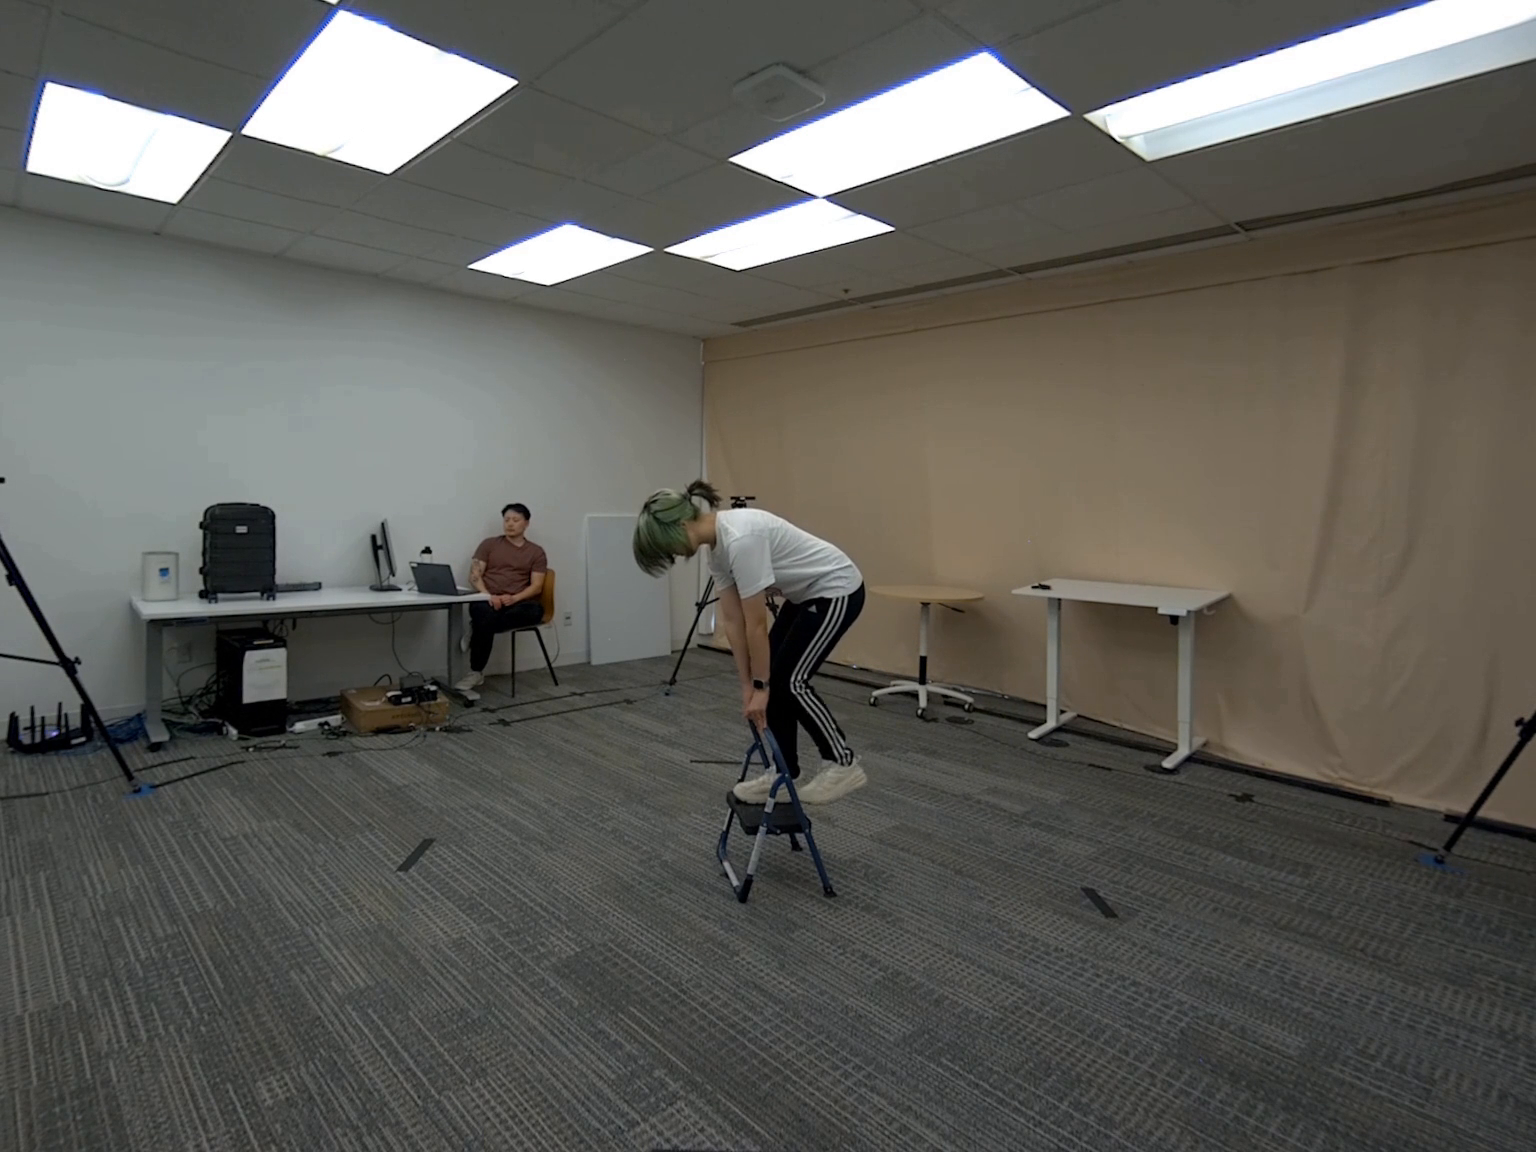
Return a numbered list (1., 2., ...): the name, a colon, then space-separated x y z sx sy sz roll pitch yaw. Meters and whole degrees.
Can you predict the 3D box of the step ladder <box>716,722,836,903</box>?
1. step ladder: 0.017 0.810 3.104 0.345 0.605 0.436 0 3 -15
